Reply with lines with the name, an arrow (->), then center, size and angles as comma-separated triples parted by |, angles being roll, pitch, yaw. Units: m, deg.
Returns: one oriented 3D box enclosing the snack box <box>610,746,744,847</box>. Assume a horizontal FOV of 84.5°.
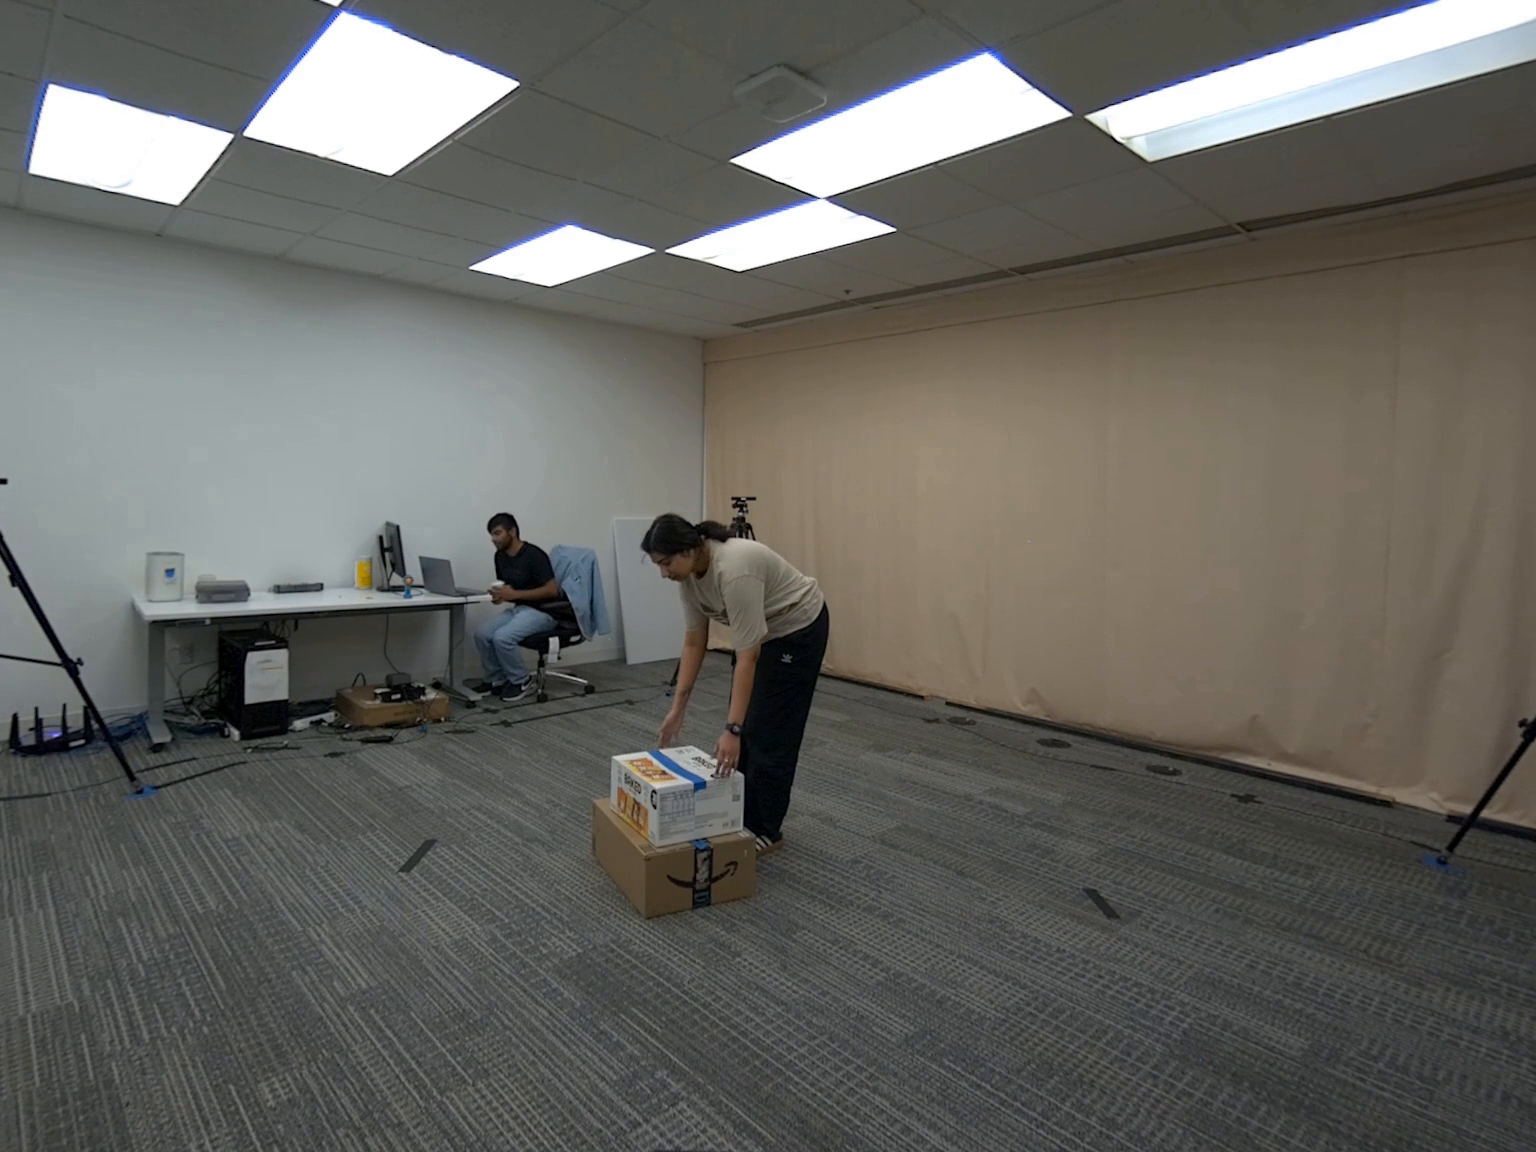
snack box -> -0.341, 0.793, 3.060 | 0.333, 0.205, 0.414 | -1, 5, -32
